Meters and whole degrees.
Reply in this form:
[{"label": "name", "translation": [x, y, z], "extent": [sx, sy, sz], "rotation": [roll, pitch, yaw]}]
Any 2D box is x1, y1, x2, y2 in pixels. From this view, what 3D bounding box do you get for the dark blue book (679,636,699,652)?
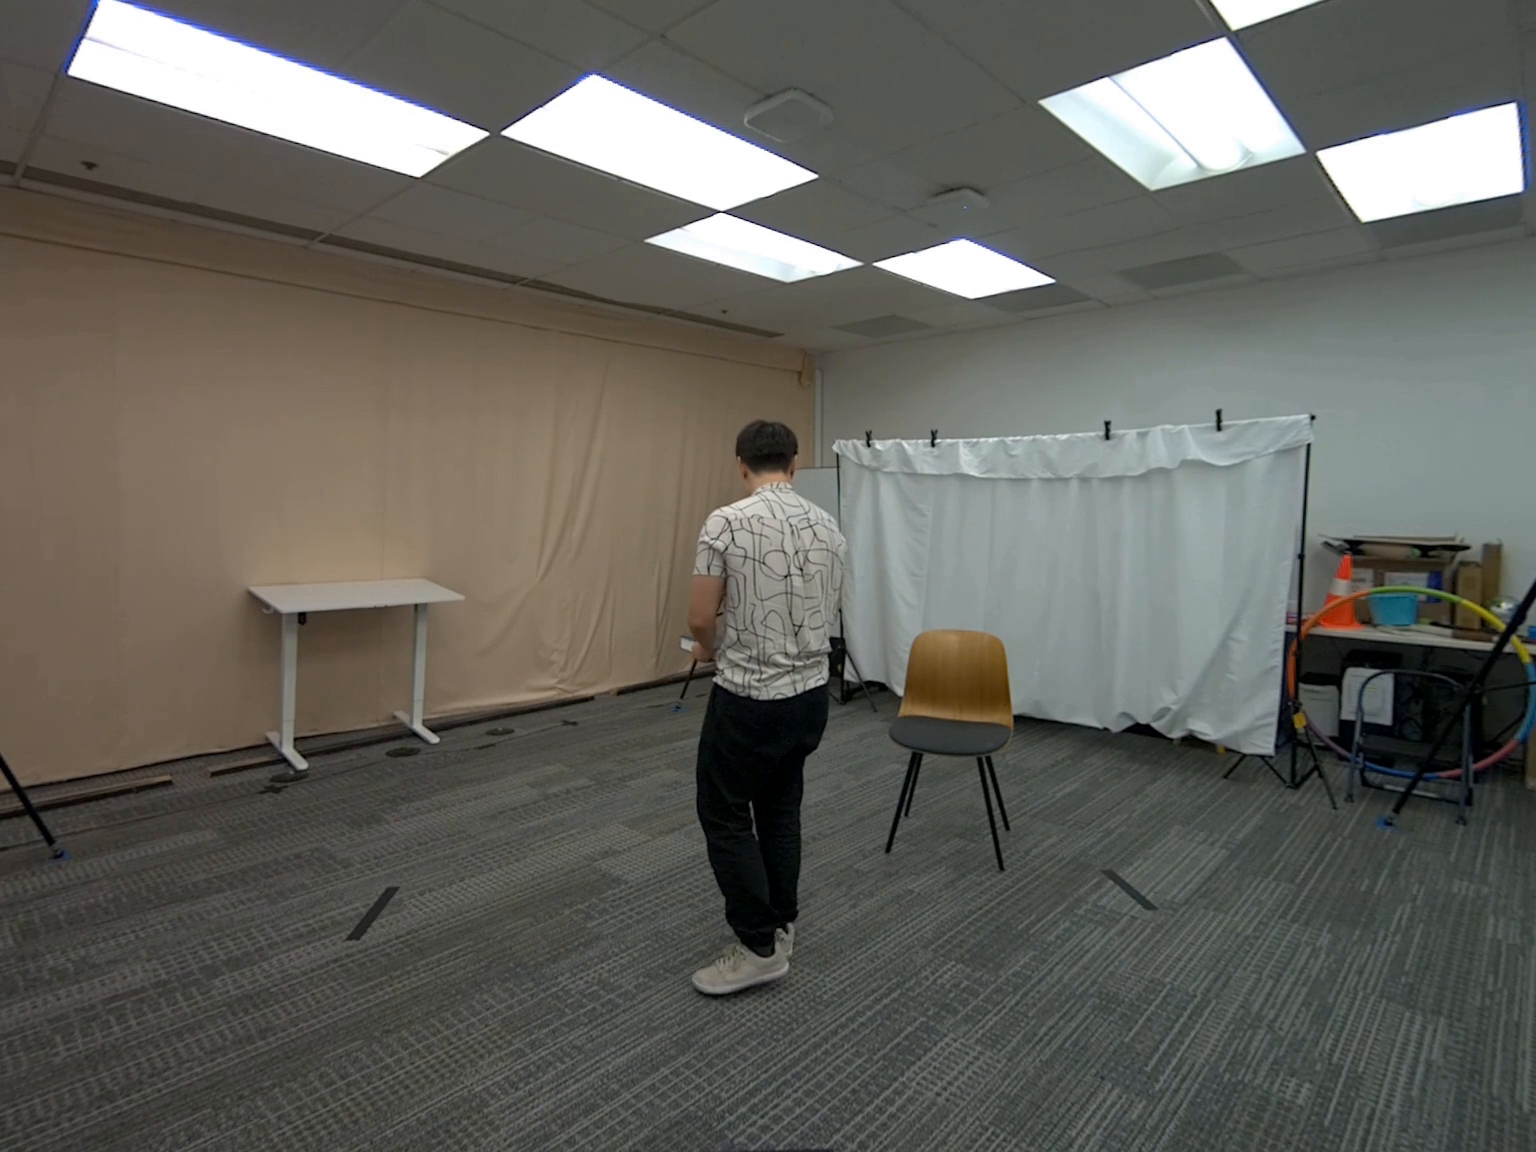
[{"label": "dark blue book", "translation": [-0.177, 0.243, 2.795], "extent": [0.159, 0.045, 0.252], "rotation": [3, 5, -28]}]
